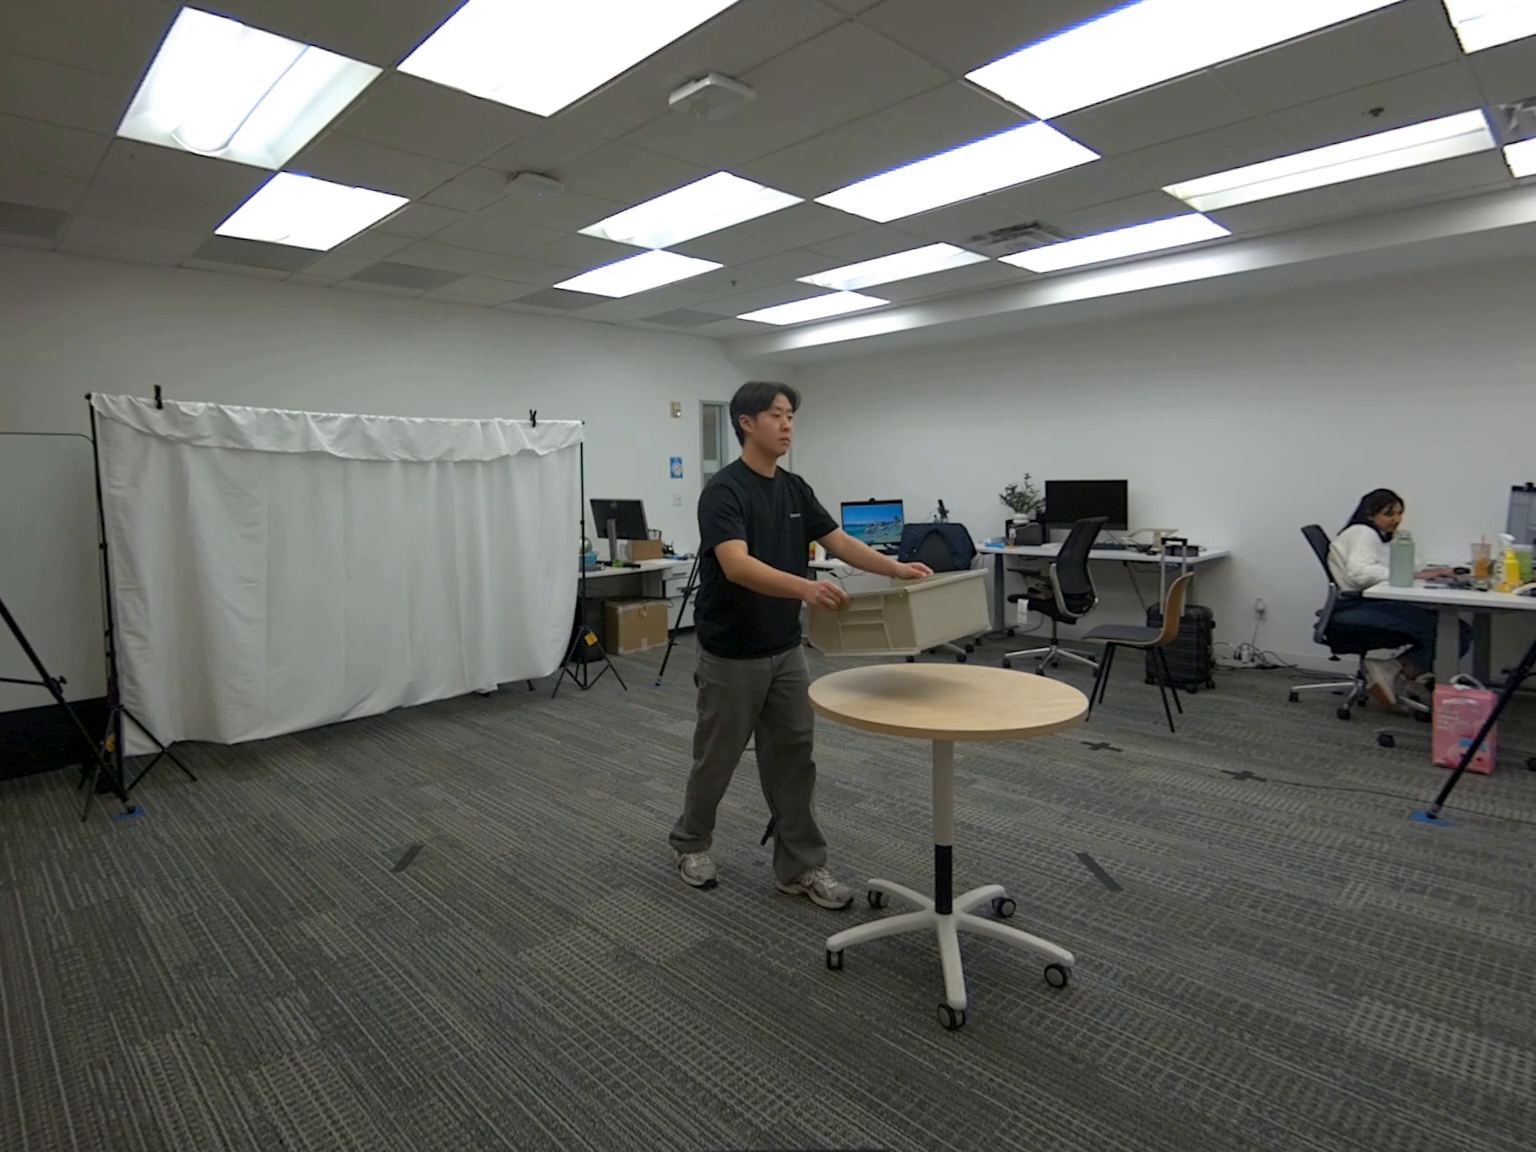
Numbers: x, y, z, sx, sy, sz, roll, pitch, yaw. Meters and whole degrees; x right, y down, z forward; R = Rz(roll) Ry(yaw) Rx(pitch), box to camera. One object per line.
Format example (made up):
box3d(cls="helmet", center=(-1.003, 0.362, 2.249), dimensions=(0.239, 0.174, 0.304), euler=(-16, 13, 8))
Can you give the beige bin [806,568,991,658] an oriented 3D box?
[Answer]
box3d(cls="beige bin", center=(0.385, 0.119, 2.510), dimensions=(0.412, 0.189, 0.387), euler=(-8, 4, -44))
